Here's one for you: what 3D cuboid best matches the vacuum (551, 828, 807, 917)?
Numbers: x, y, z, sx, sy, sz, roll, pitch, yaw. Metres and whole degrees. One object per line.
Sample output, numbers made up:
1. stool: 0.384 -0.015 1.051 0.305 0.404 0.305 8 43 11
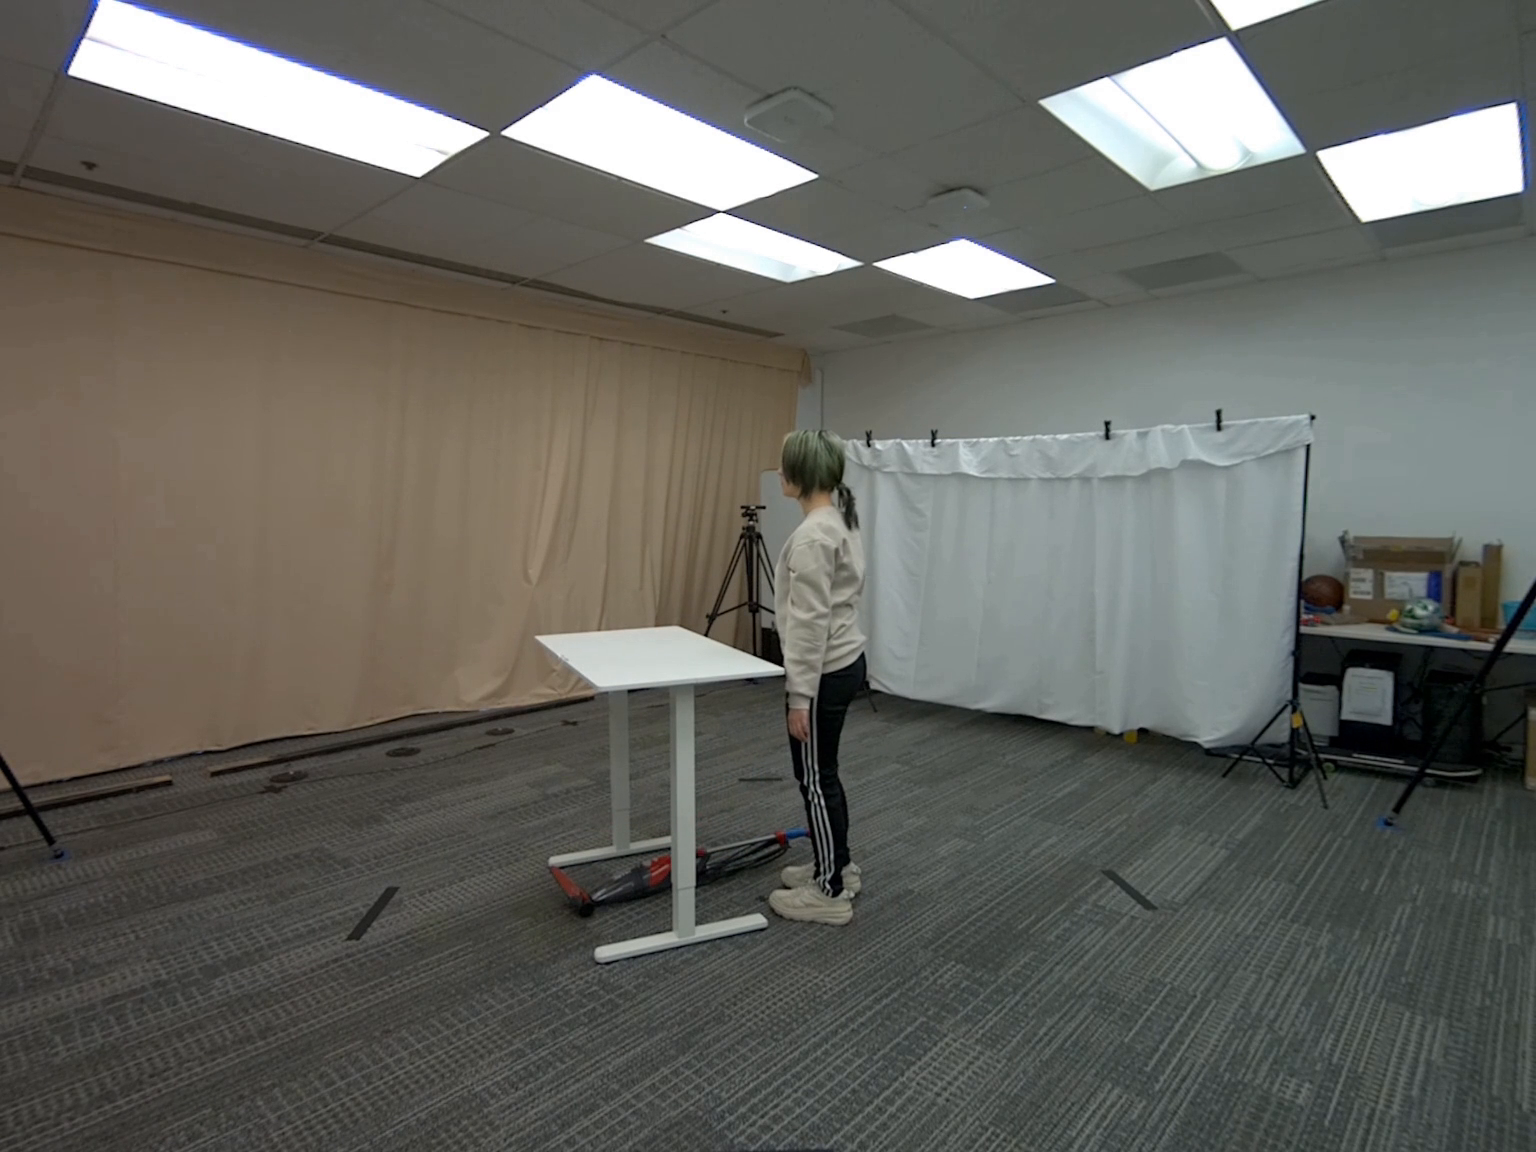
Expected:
1. vacuum: -0.232 1.075 3.137 1.023 0.144 0.259 -2 3 -27
